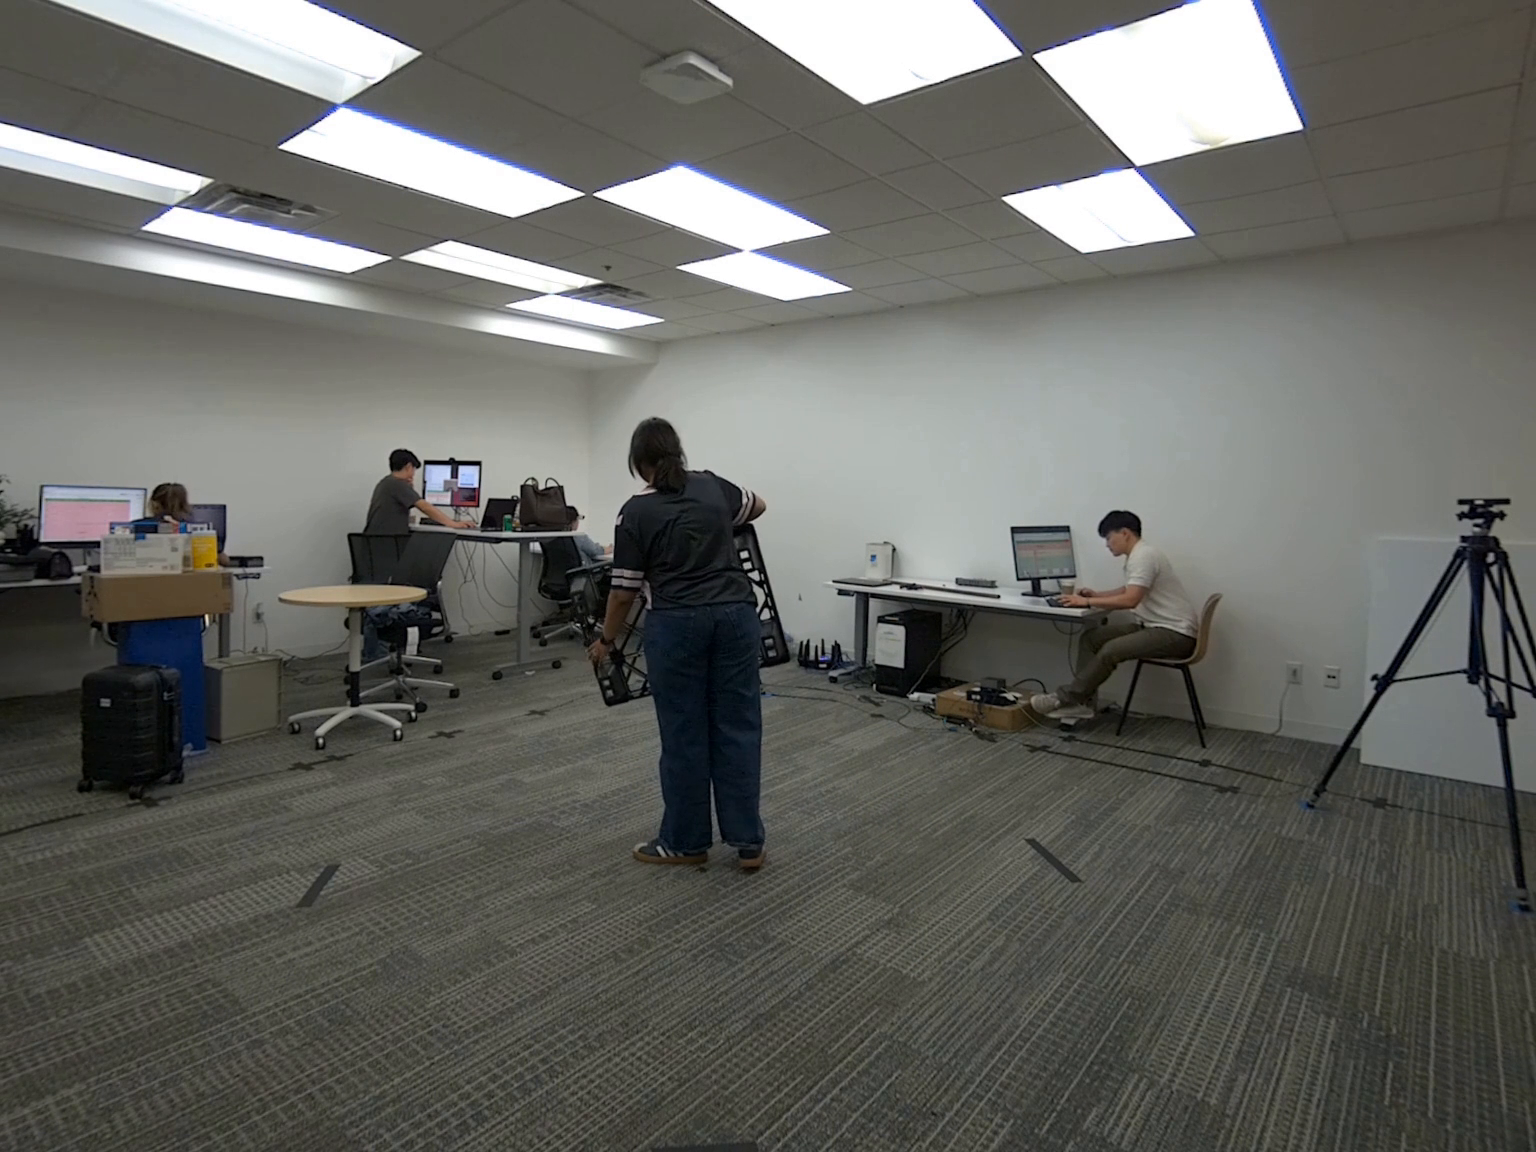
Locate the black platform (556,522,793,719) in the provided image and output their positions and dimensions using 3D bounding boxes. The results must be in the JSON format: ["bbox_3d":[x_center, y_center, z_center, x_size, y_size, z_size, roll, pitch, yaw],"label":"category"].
[{"bbox_3d":[-0.373,0.177,3.422,0.808,0.597,0.145,-15,11,5],"label":"black platform"}]
